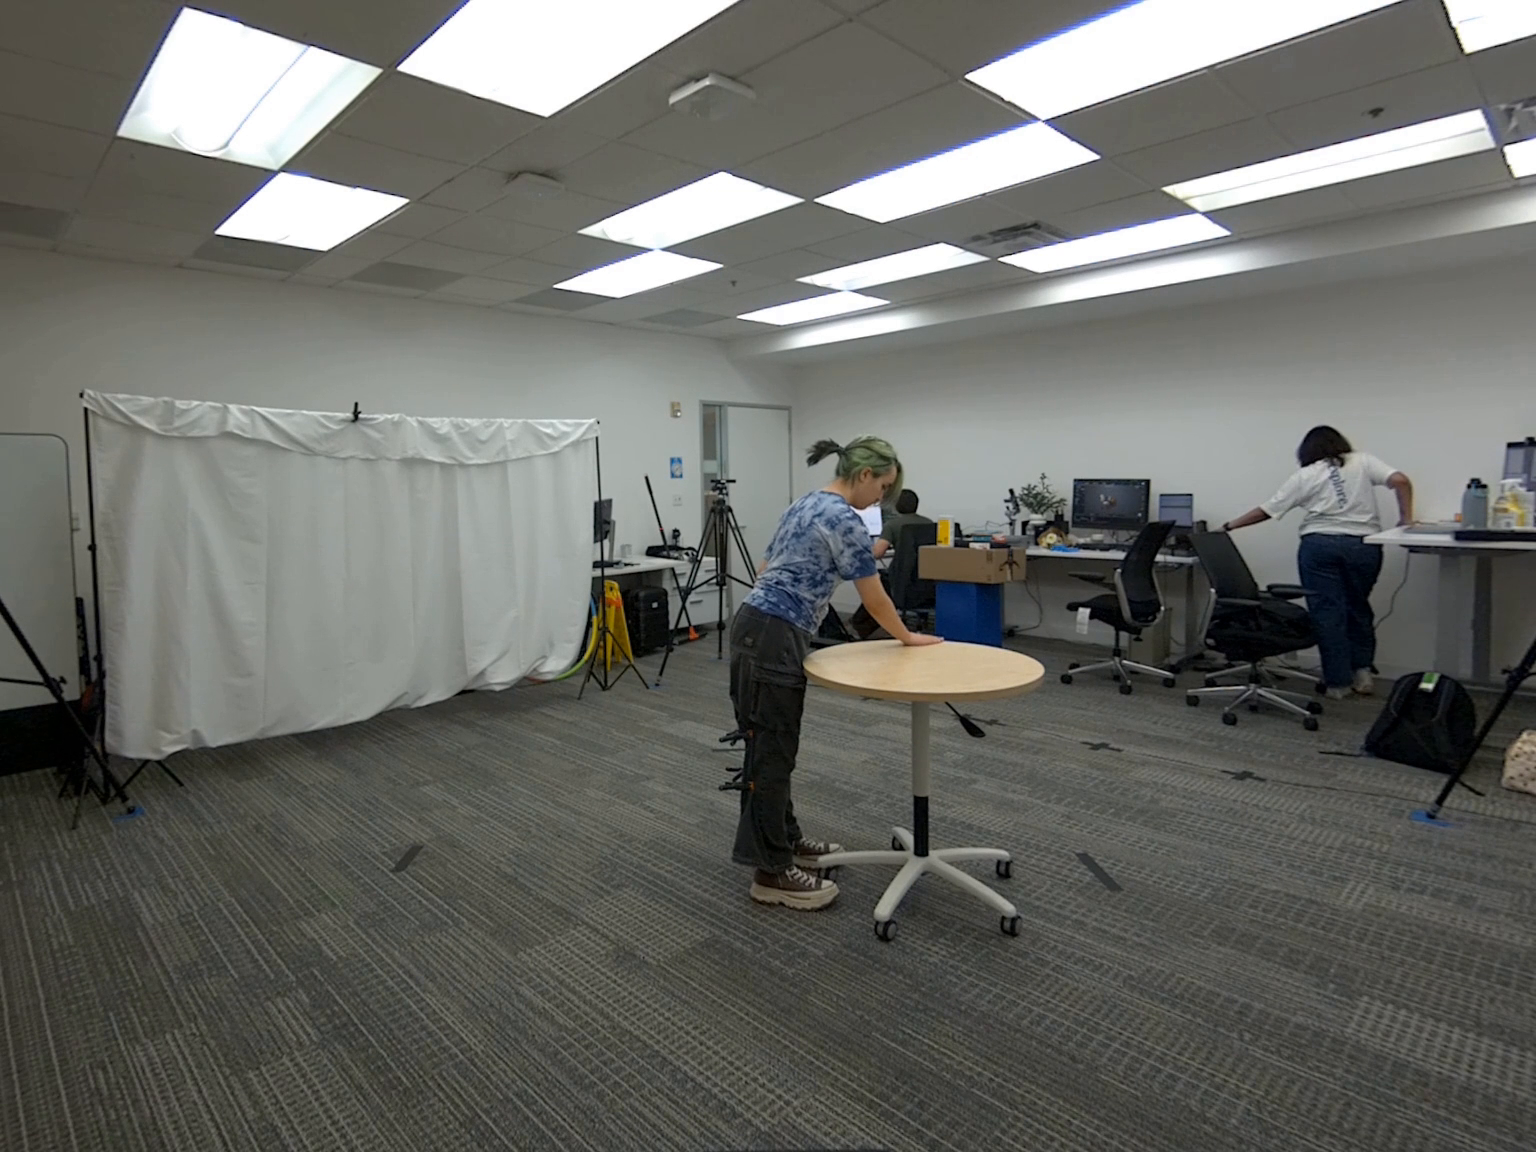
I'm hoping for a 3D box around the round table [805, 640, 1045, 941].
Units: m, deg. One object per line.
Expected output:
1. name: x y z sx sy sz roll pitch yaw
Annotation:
1. round table: 0.497 0.674 2.819 0.784 0.783 0.789 -1 5 -2
